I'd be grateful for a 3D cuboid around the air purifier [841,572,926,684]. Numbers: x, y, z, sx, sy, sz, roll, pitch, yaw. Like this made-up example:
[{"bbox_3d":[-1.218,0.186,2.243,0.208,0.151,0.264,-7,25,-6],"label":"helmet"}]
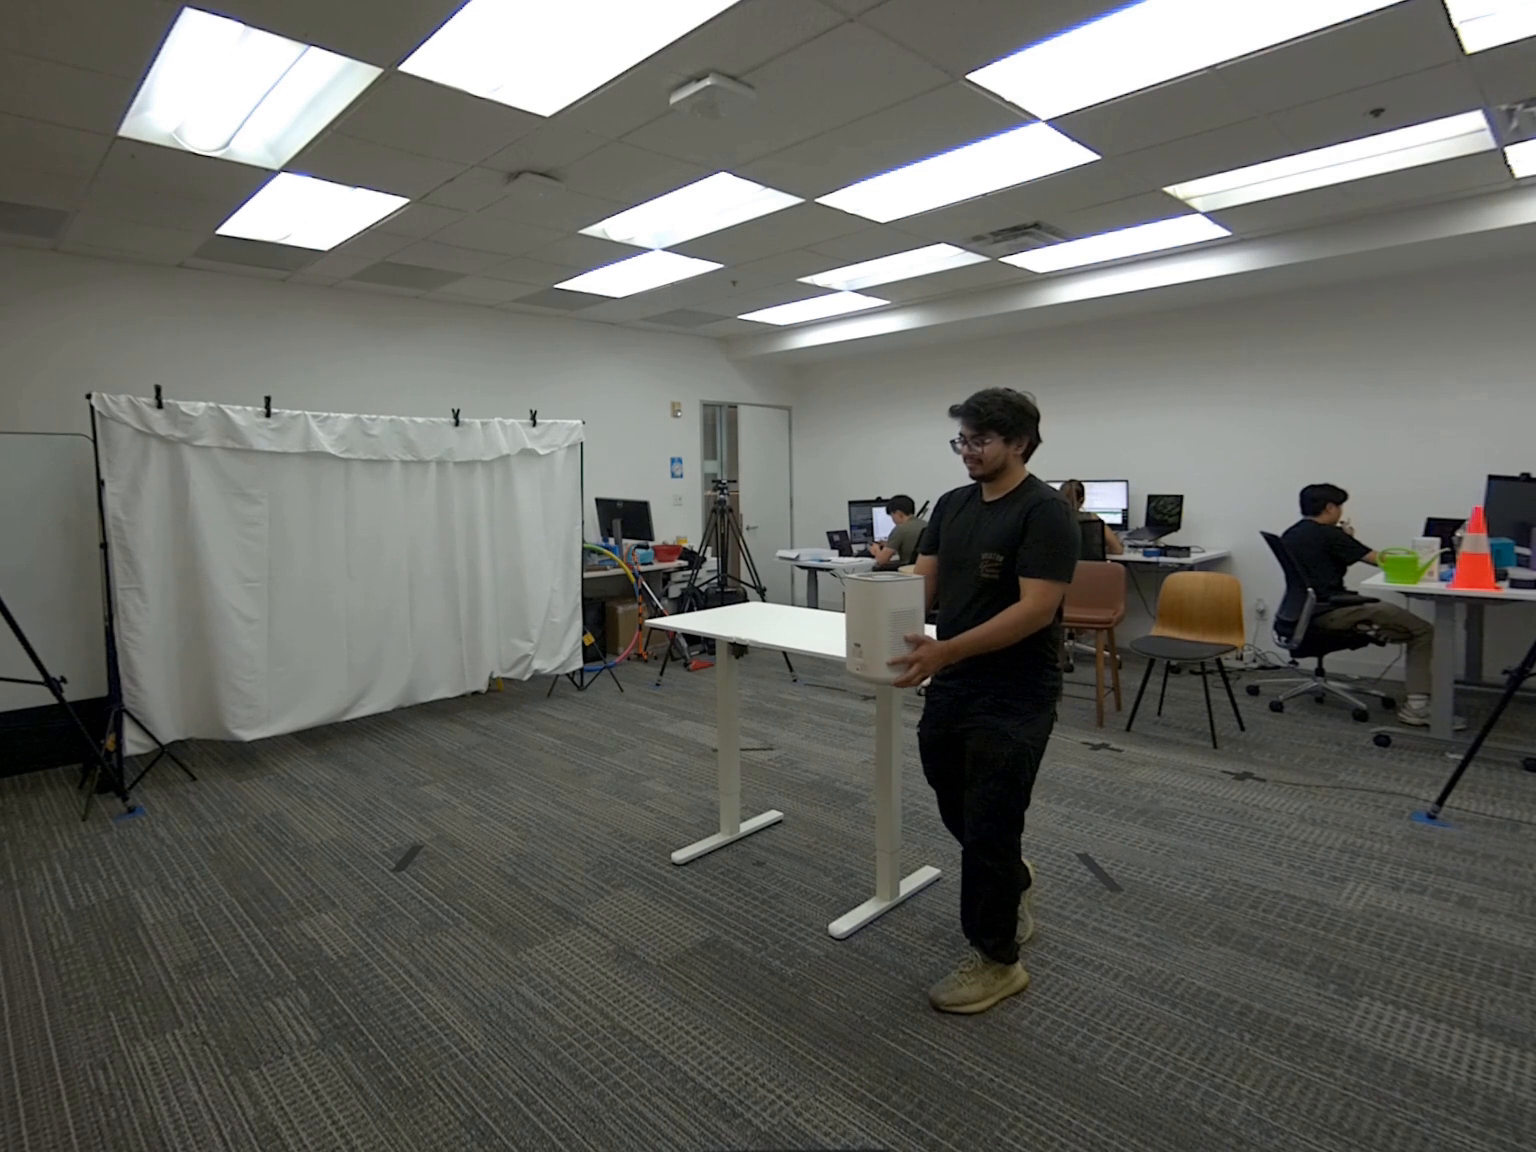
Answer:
[{"bbox_3d":[0.313,0.130,2.167,0.167,0.264,0.176,-3,4,-30],"label":"air purifier"}]
